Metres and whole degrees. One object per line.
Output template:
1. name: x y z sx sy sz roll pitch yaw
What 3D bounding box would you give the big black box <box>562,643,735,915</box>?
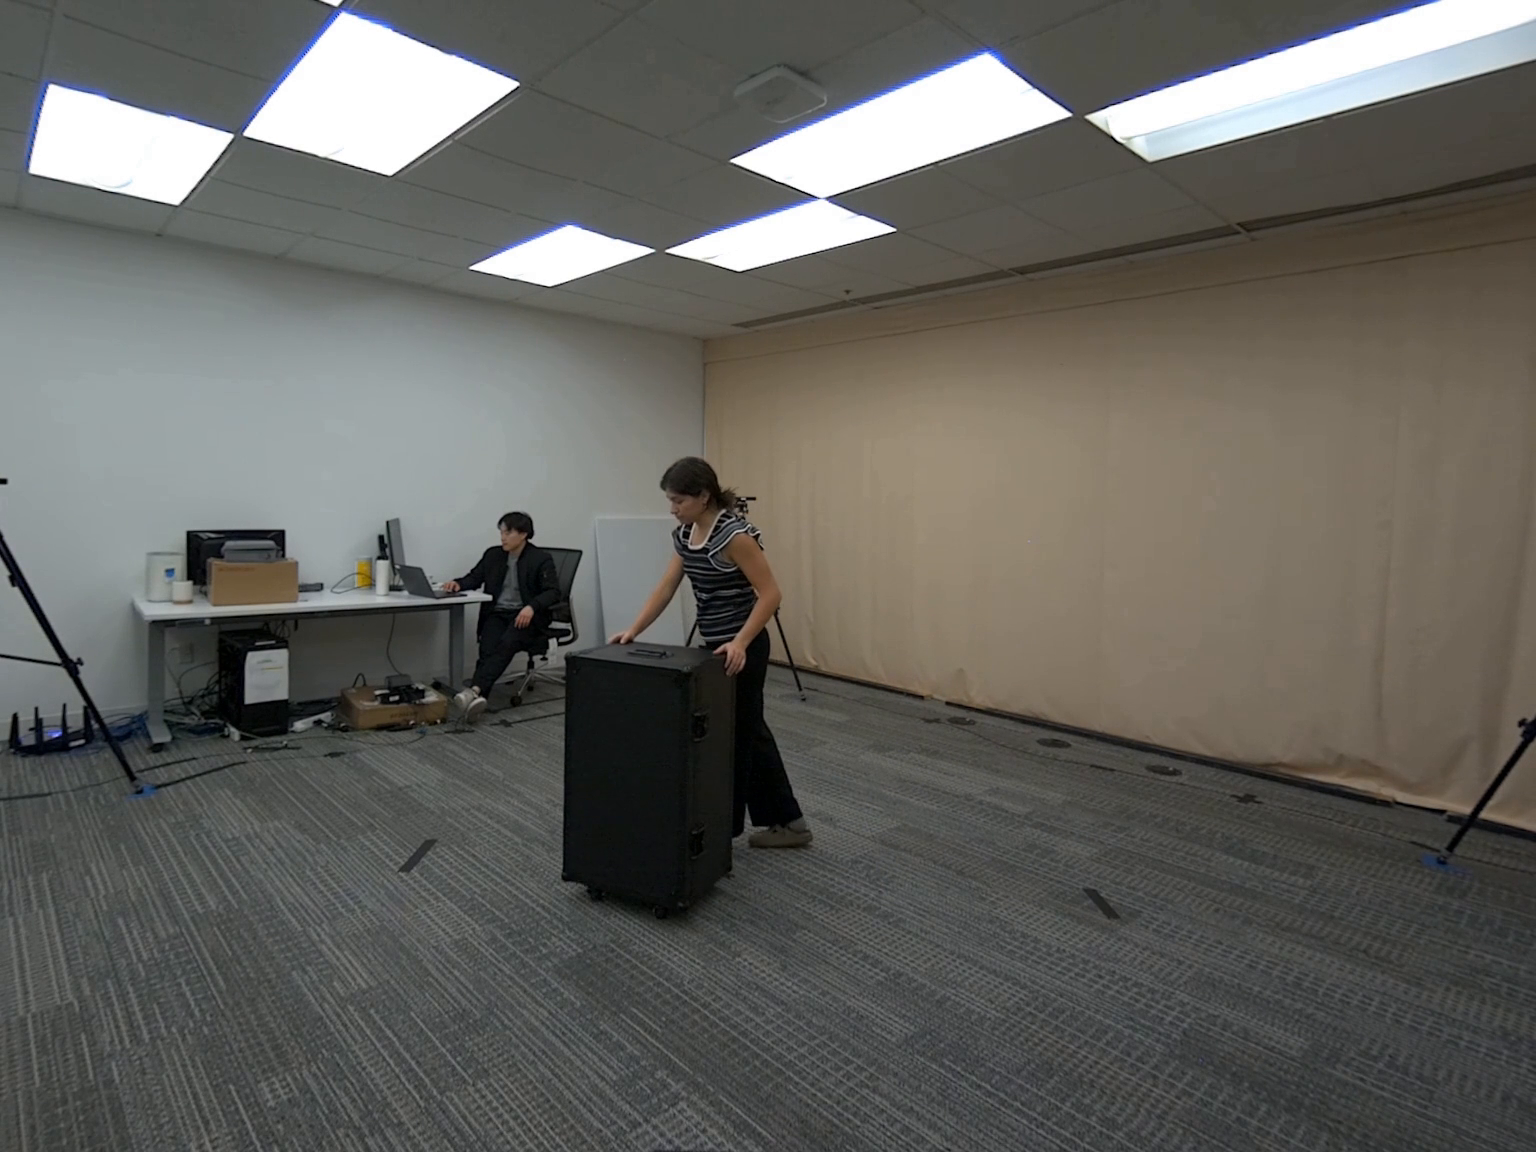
1. big black box: -0.415 0.691 2.933 0.531 0.860 0.389 3 3 25
